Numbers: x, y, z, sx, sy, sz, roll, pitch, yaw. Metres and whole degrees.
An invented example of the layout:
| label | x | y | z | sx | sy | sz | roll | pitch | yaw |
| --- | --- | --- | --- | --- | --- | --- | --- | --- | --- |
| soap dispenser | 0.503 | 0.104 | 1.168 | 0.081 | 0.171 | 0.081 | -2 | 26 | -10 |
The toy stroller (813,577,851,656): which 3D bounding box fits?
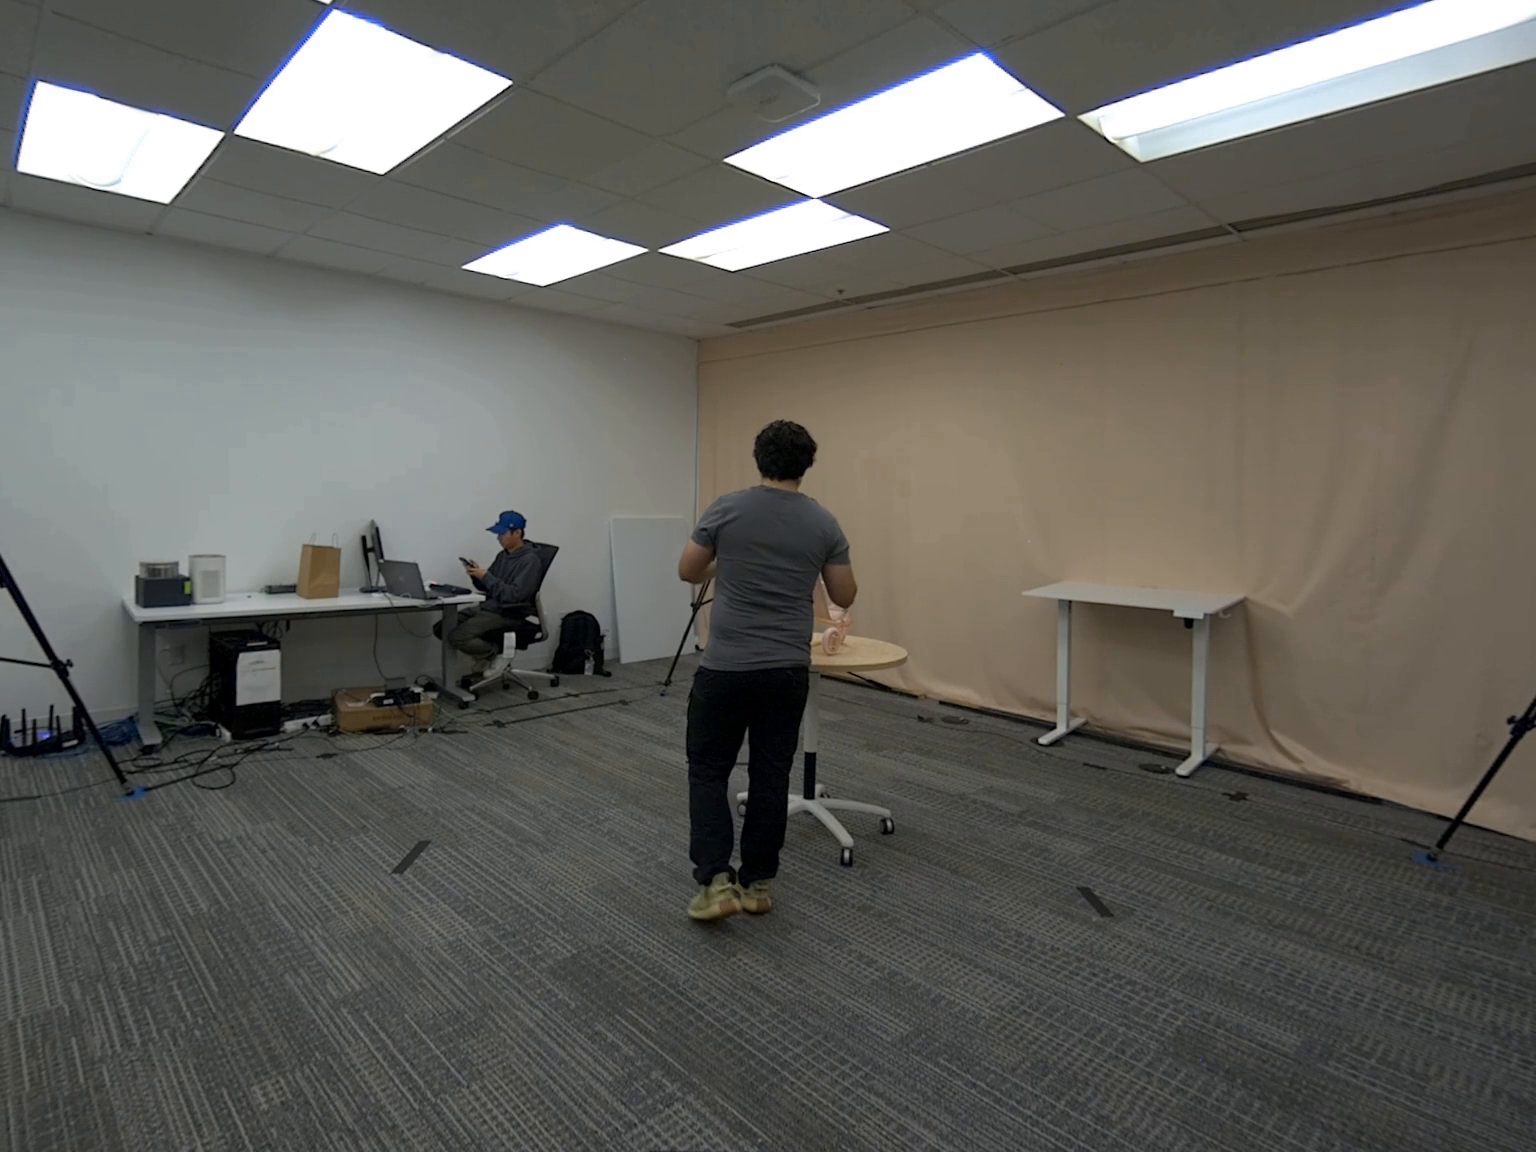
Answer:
| label | x | y | z | sx | sy | sz | roll | pitch | yaw |
| --- | --- | --- | --- | --- | --- | --- | --- | --- | --- |
| toy stroller | 0.201 | 0.079 | 3.458 | 0.289 | 0.528 | 0.336 | 7 | 21 | 42 |
